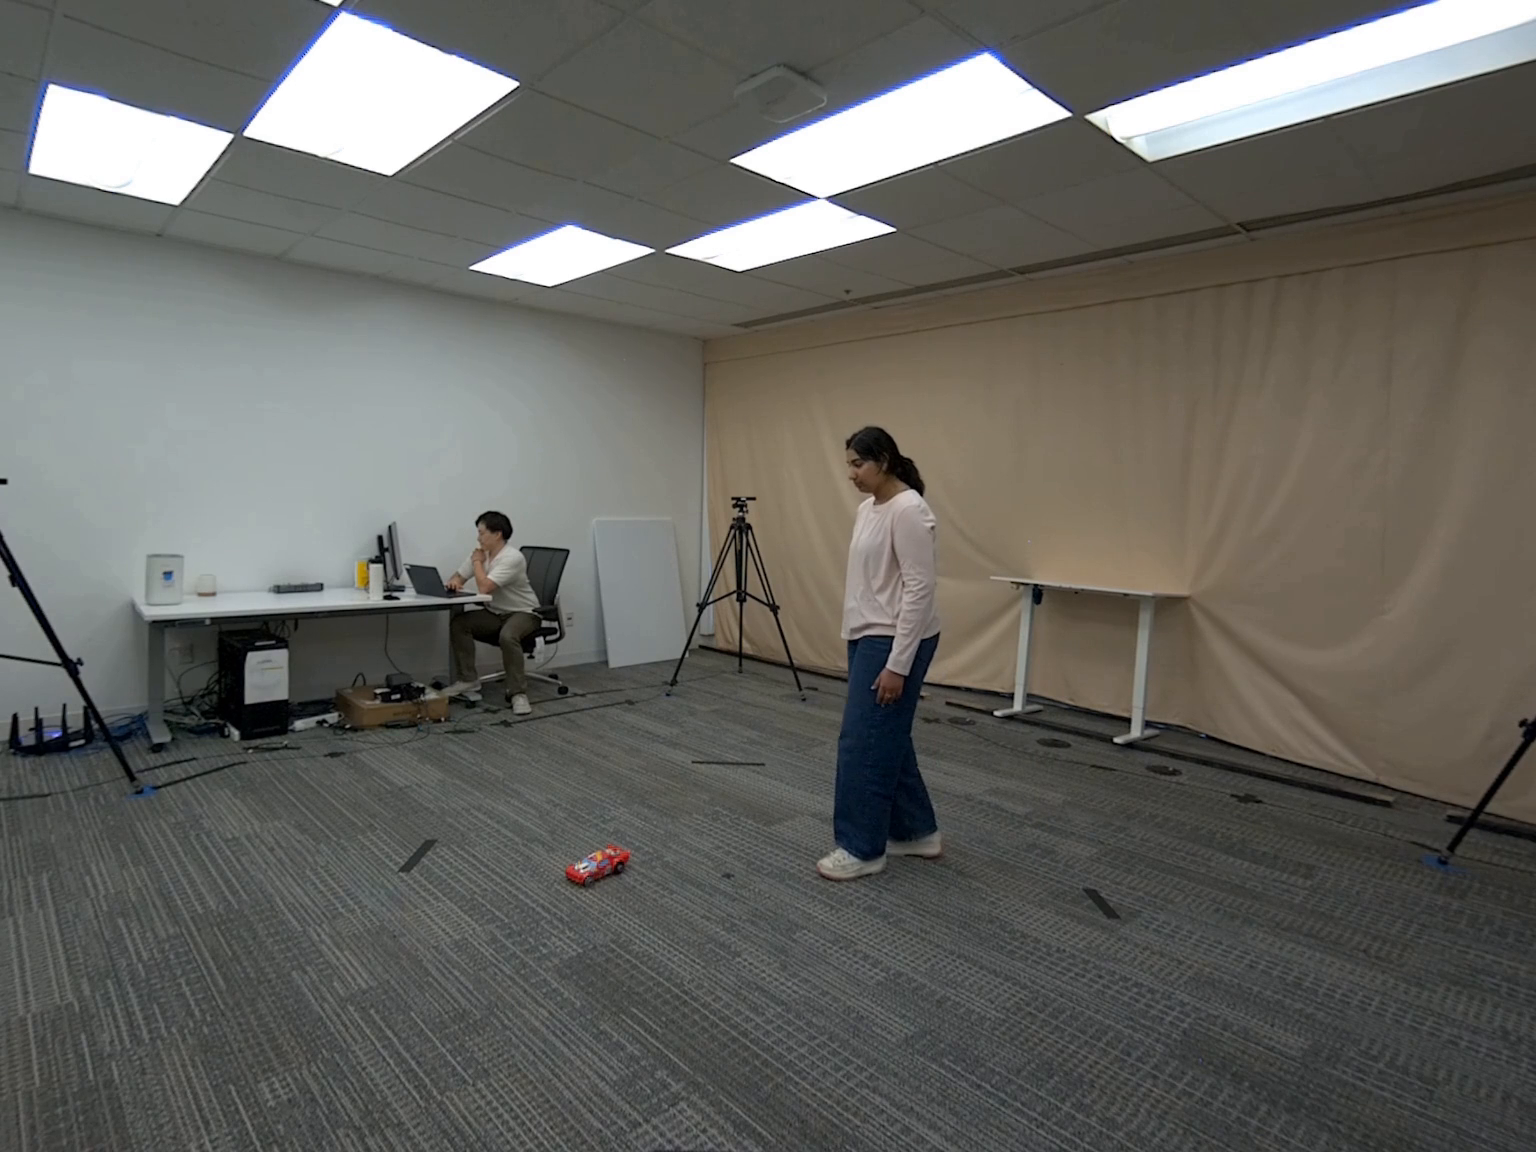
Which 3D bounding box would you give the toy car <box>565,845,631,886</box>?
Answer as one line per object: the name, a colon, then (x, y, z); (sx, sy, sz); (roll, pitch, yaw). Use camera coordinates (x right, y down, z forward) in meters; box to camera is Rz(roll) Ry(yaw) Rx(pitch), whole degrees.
toy car: (-0.629, 1.065, 3.091); (0.133, 0.082, 0.251); (5, 17, 39)
